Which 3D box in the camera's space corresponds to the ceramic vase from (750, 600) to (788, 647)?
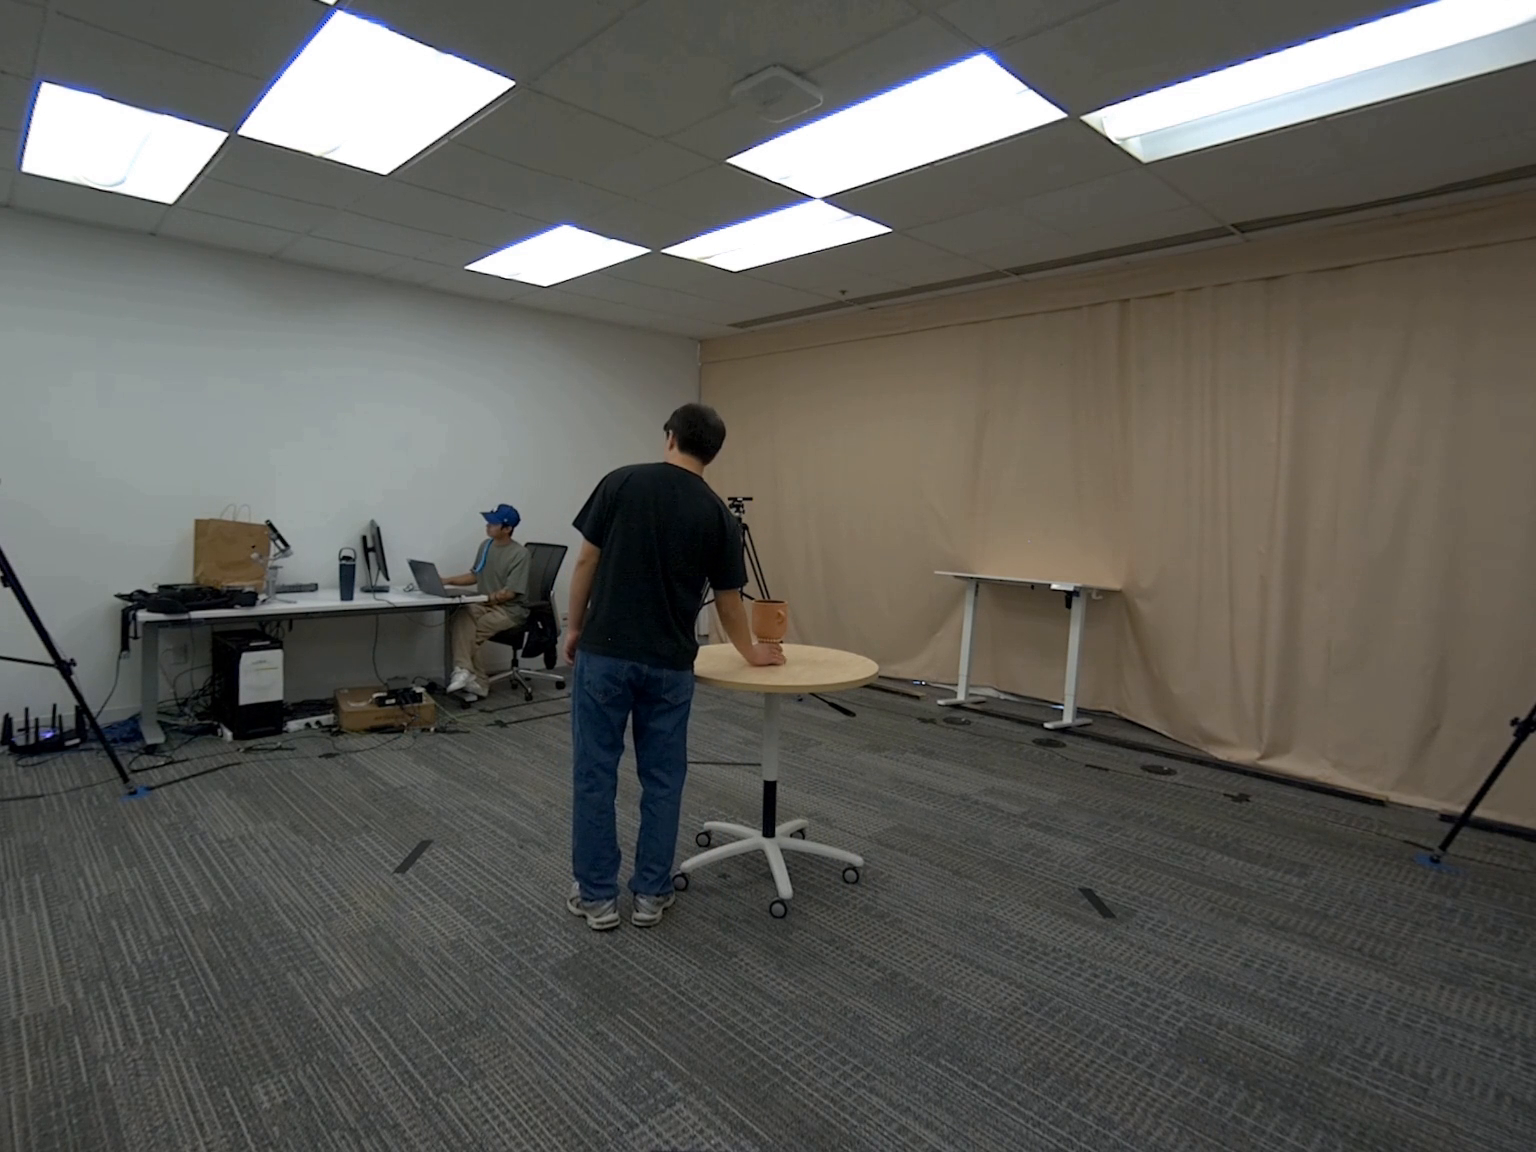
[{"bbox_3d":[-0.008,0.208,3.094,0.136,0.219,0.158,1,3,8],"label":"ceramic vase"}]
